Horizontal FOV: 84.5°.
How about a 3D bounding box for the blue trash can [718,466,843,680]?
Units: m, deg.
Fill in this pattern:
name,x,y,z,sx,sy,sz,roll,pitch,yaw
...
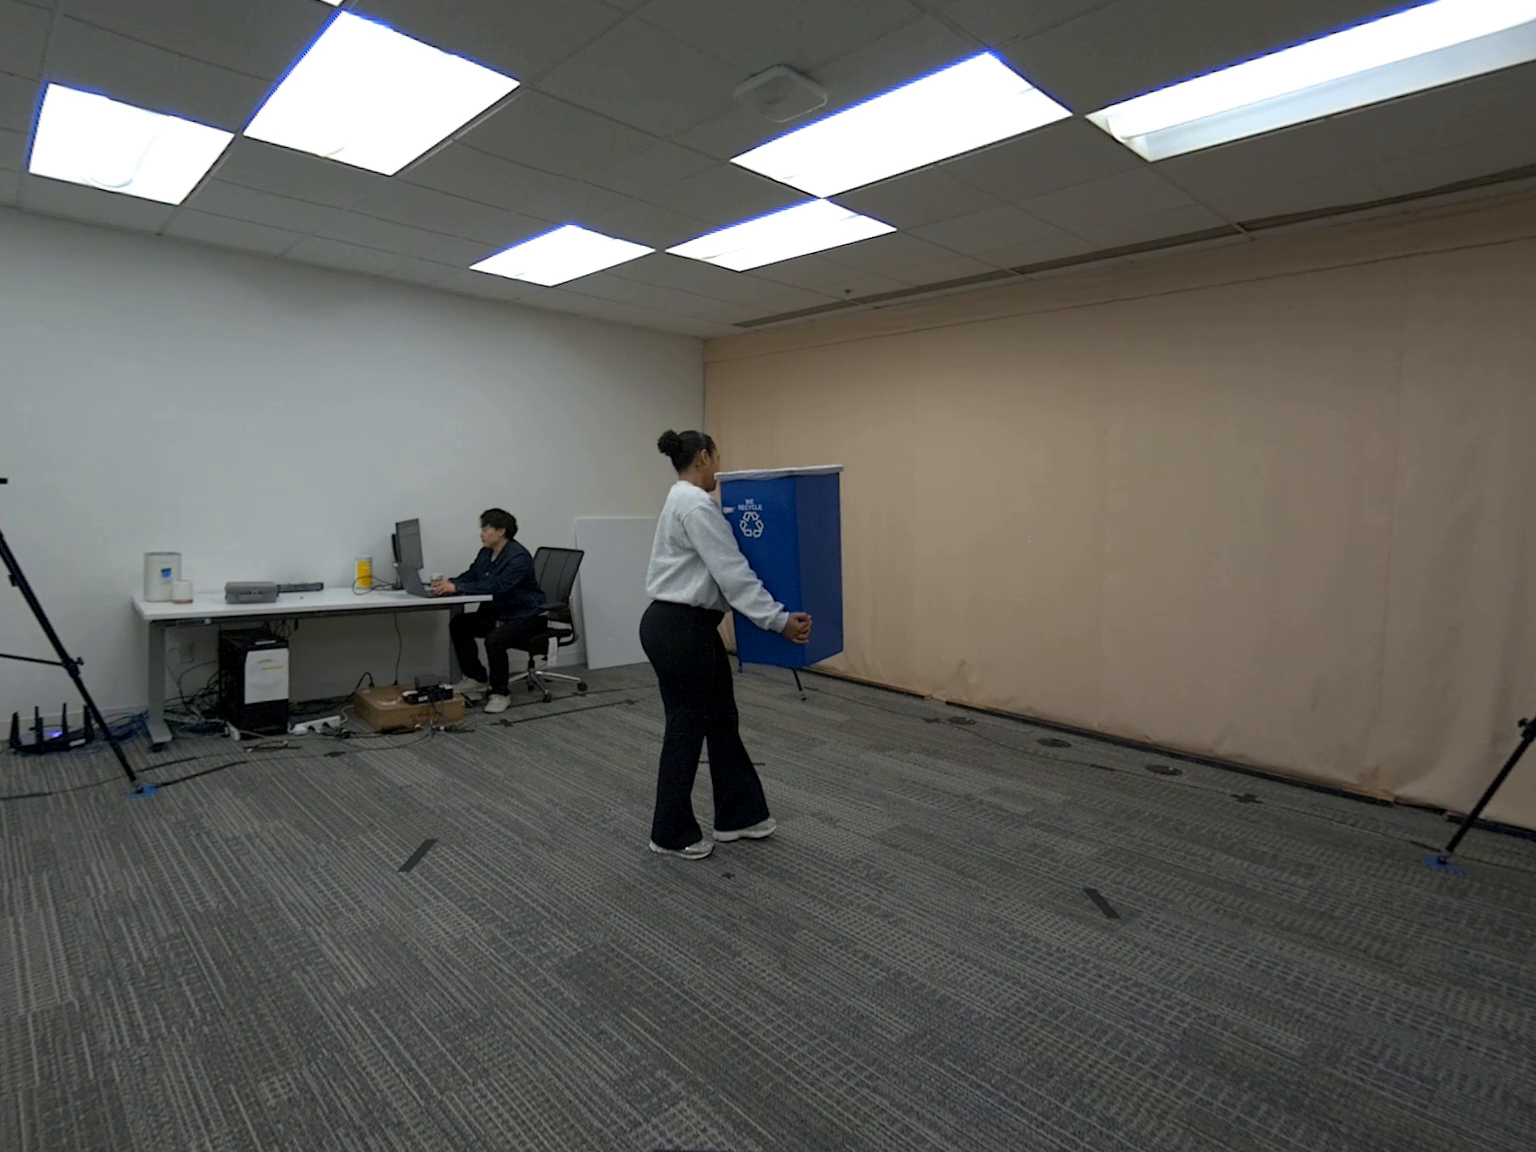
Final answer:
name,x,y,z,sx,sy,sz,roll,pitch,yaw
blue trash can,0.055,-0.050,3.175,0.387,0.711,0.367,0,6,36
